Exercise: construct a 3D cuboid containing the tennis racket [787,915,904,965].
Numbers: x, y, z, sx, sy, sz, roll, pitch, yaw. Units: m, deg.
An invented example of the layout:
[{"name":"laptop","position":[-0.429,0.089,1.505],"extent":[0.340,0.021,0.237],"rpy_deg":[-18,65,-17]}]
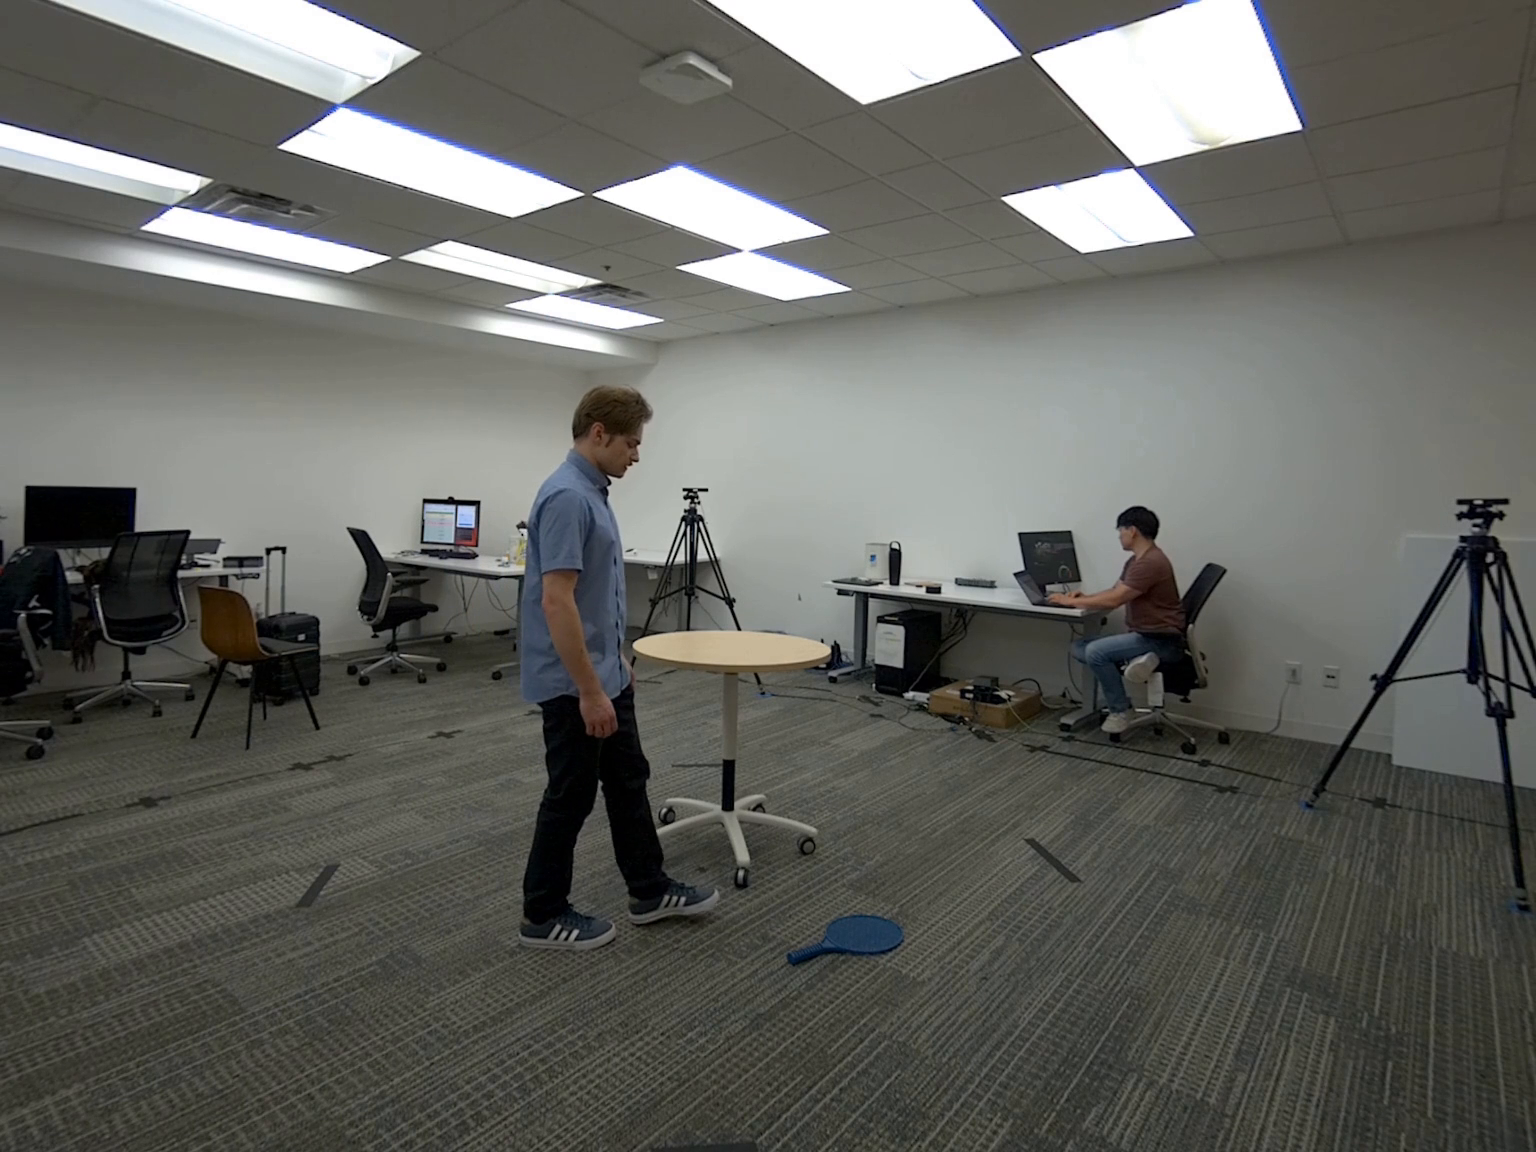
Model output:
[{"name":"tennis racket","position":[0.234,1.116,2.620],"extent":[0.420,0.031,0.221],"rpy_deg":[-1,7,-37]}]
